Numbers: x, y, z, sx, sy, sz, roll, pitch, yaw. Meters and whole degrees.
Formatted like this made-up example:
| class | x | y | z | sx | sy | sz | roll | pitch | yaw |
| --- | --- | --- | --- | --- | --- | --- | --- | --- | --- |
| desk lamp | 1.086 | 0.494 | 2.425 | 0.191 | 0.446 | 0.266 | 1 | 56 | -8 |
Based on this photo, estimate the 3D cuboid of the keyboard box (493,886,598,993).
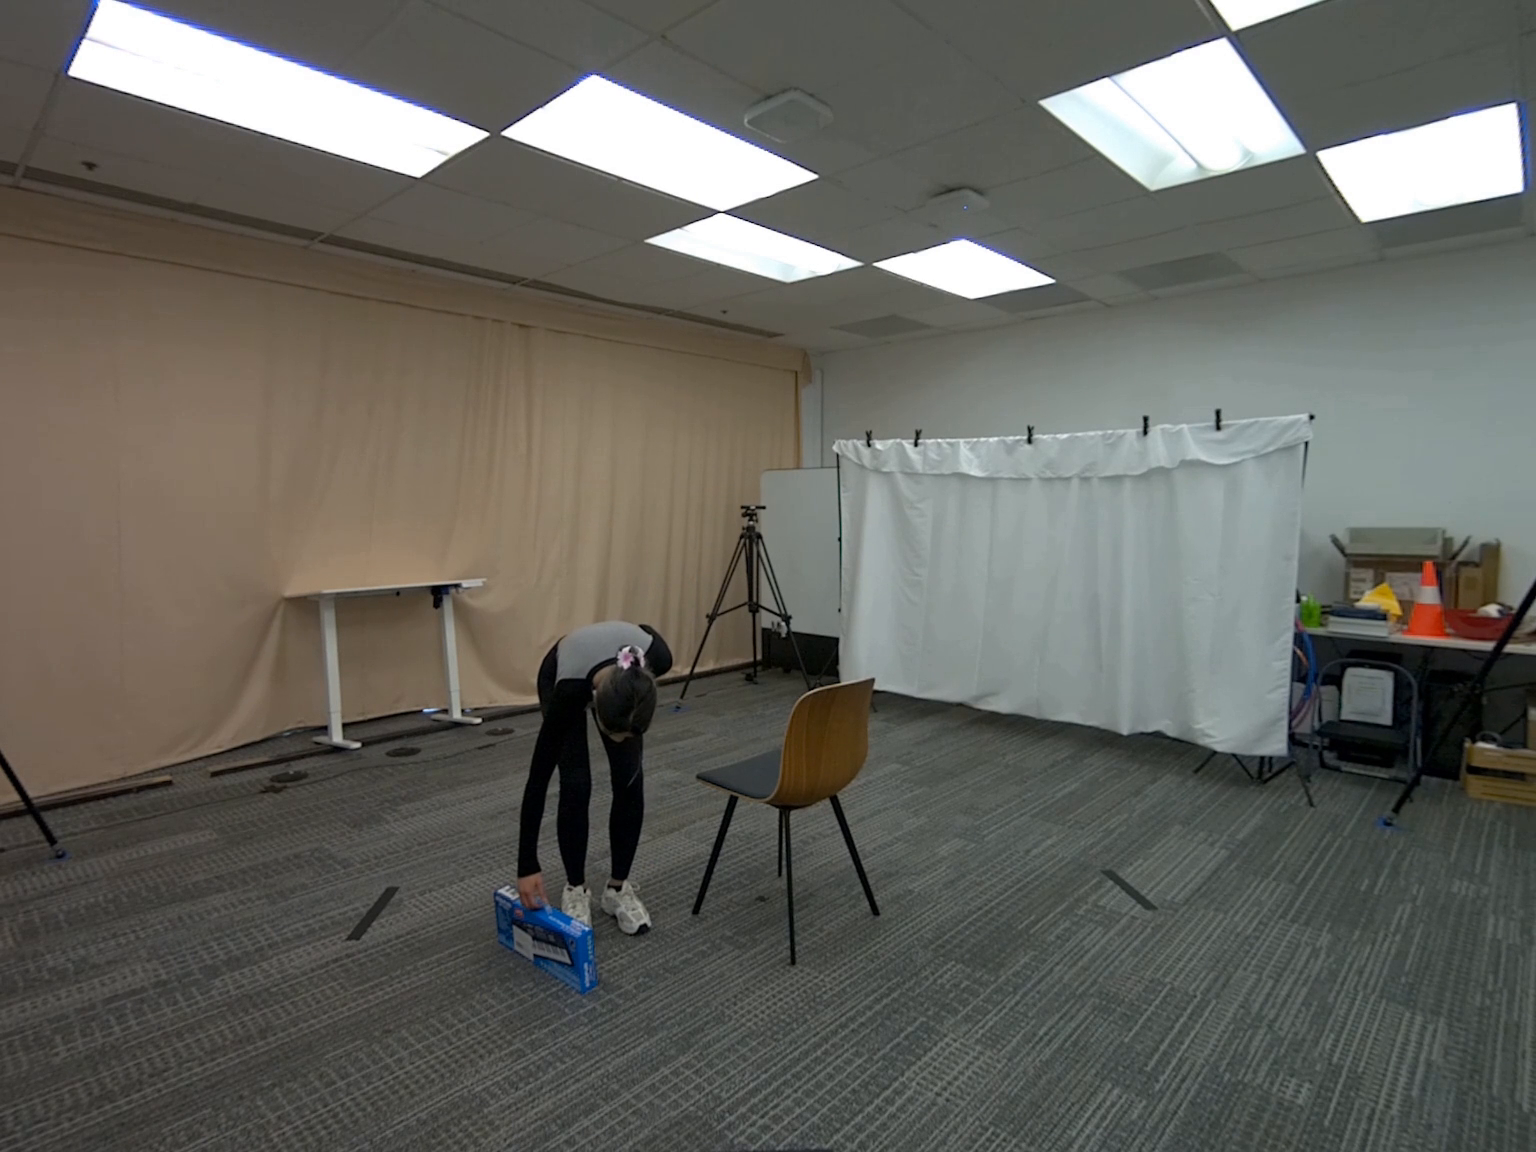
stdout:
| class | x | y | z | sx | sy | sz | roll | pitch | yaw |
| --- | --- | --- | --- | --- | --- | --- | --- | --- | --- |
| keyboard box | -0.684 | 1.100 | 2.559 | 0.451 | 0.175 | 0.057 | 2 | 7 | 41 |
